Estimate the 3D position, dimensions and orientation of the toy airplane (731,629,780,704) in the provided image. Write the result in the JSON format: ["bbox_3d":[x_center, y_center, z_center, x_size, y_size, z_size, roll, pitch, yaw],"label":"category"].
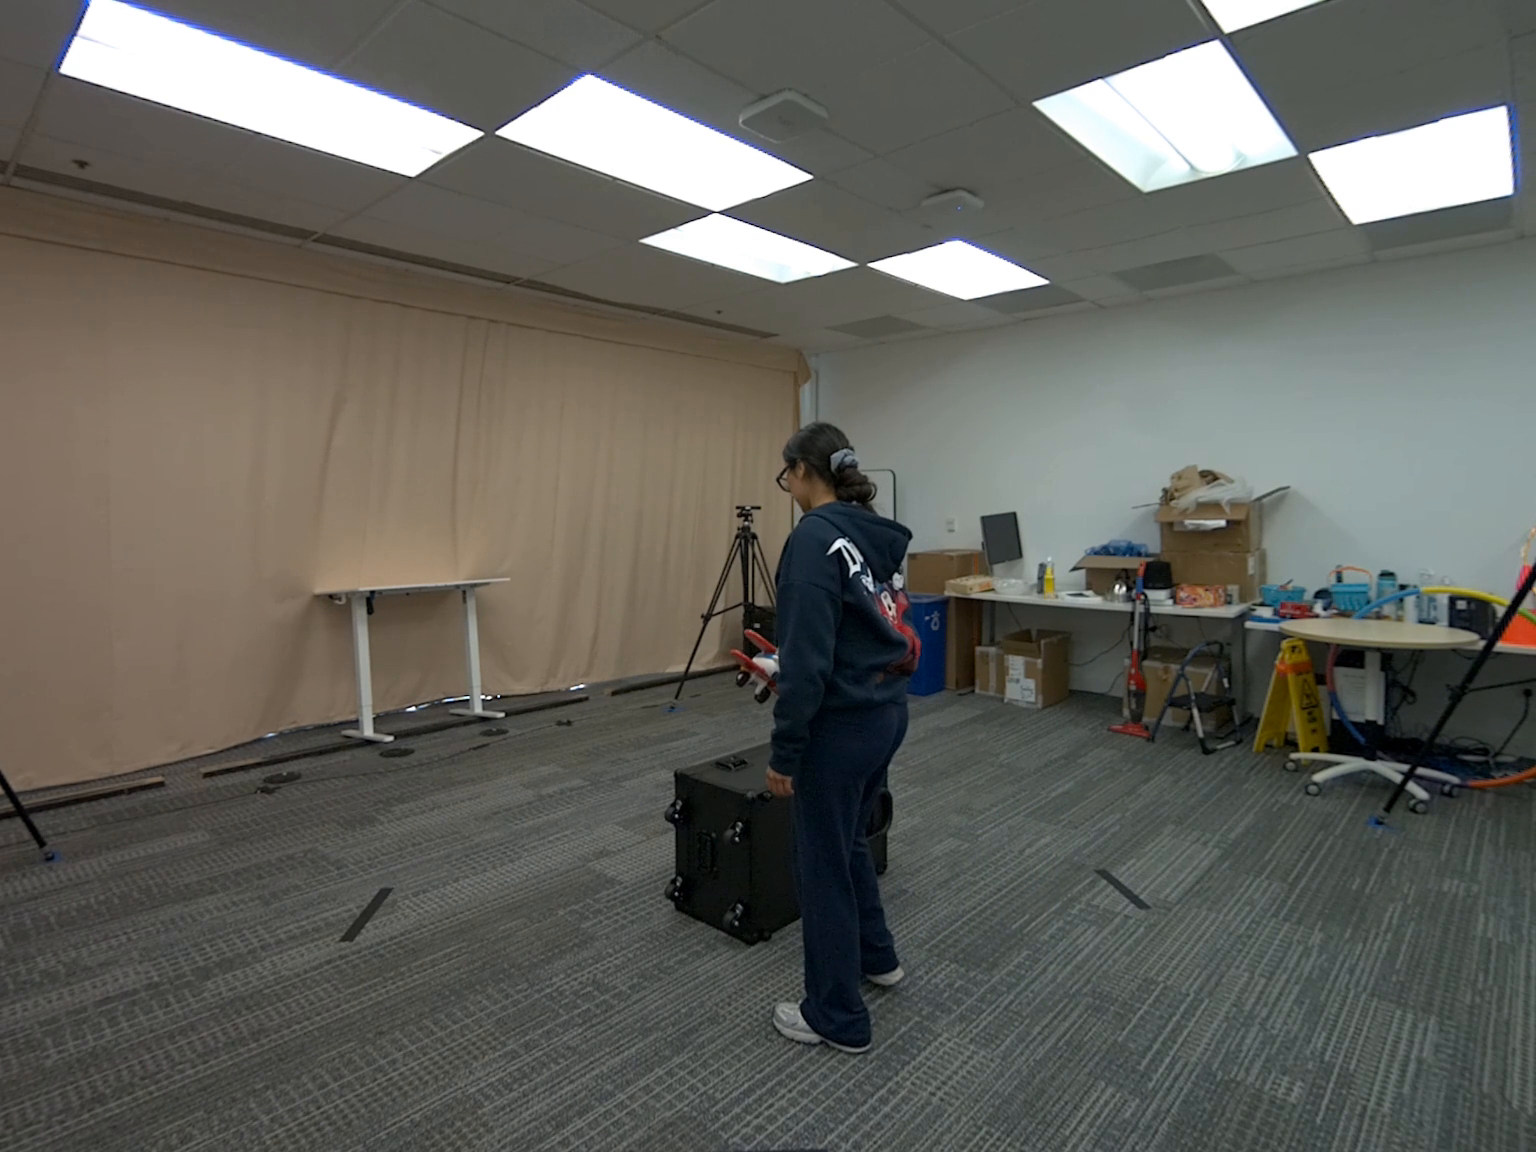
[{"bbox_3d":[0.046,0.297,2.570,0.268,0.243,0.156,3,49,39],"label":"toy airplane"}]
